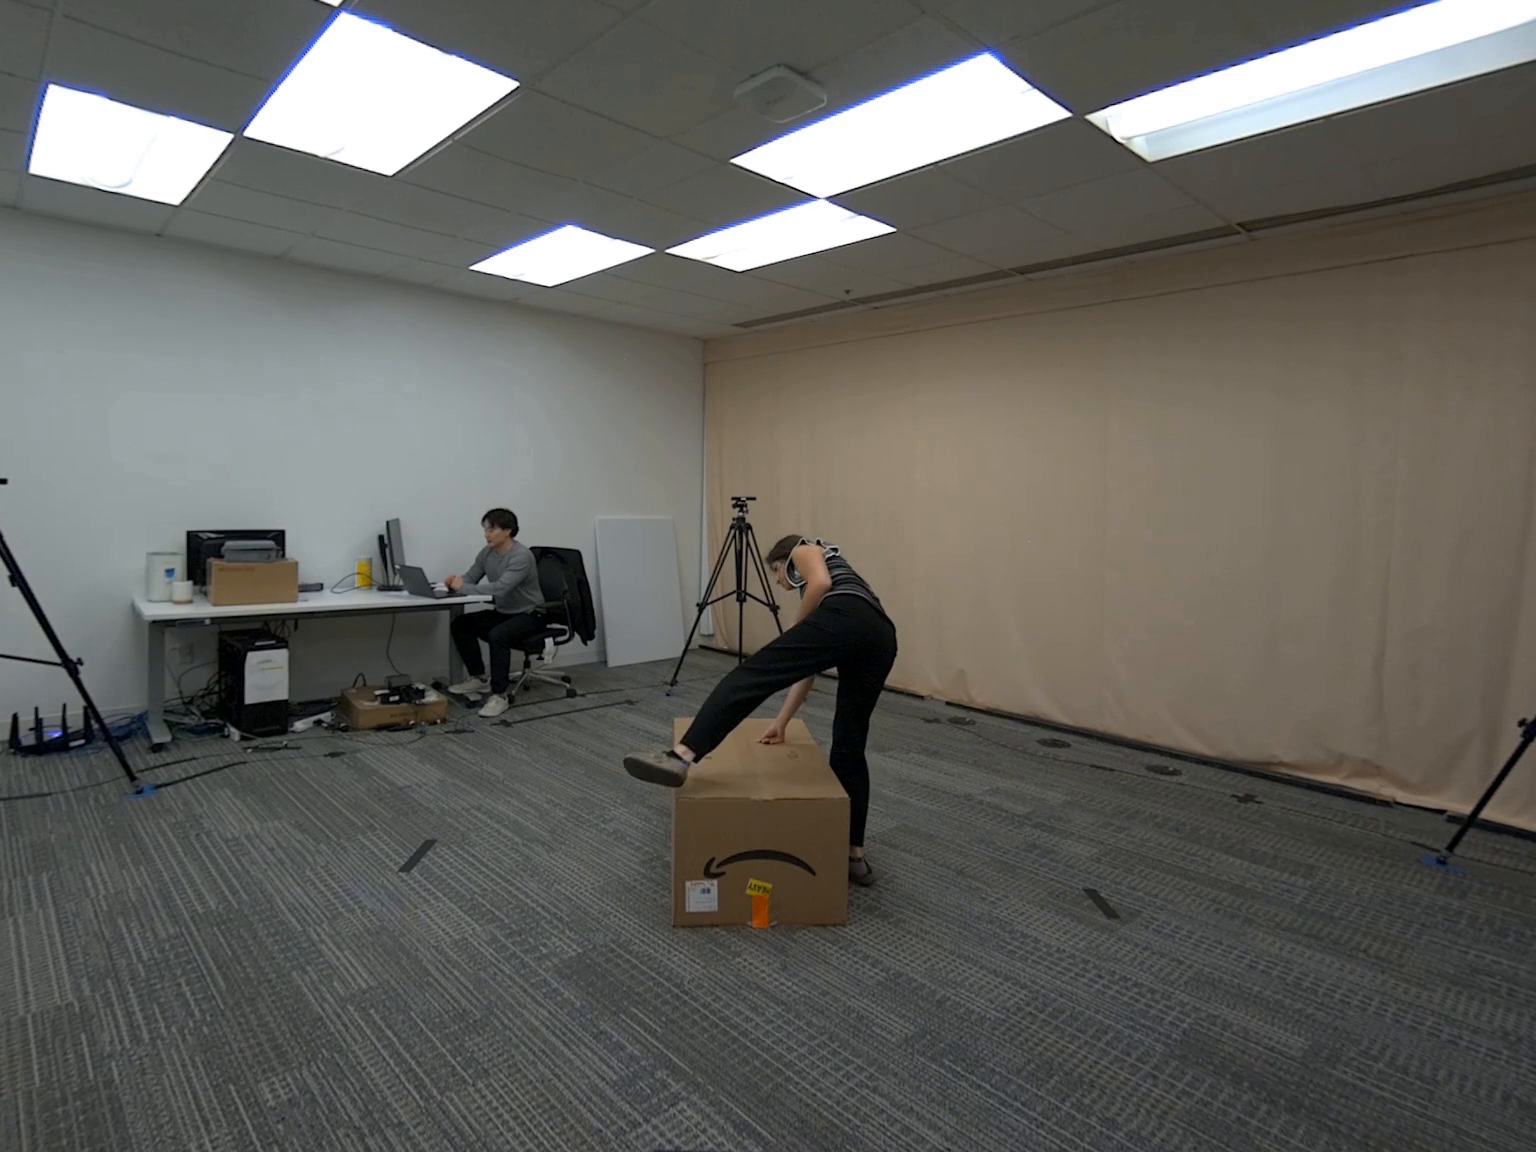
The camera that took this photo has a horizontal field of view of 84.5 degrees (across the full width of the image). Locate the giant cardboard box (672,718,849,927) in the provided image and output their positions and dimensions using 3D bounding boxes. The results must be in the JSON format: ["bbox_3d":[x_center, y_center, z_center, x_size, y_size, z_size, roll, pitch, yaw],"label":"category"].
[{"bbox_3d":[-0.088,0.890,3.235,0.575,0.425,1.032,1,4,-6],"label":"giant cardboard box"}]
